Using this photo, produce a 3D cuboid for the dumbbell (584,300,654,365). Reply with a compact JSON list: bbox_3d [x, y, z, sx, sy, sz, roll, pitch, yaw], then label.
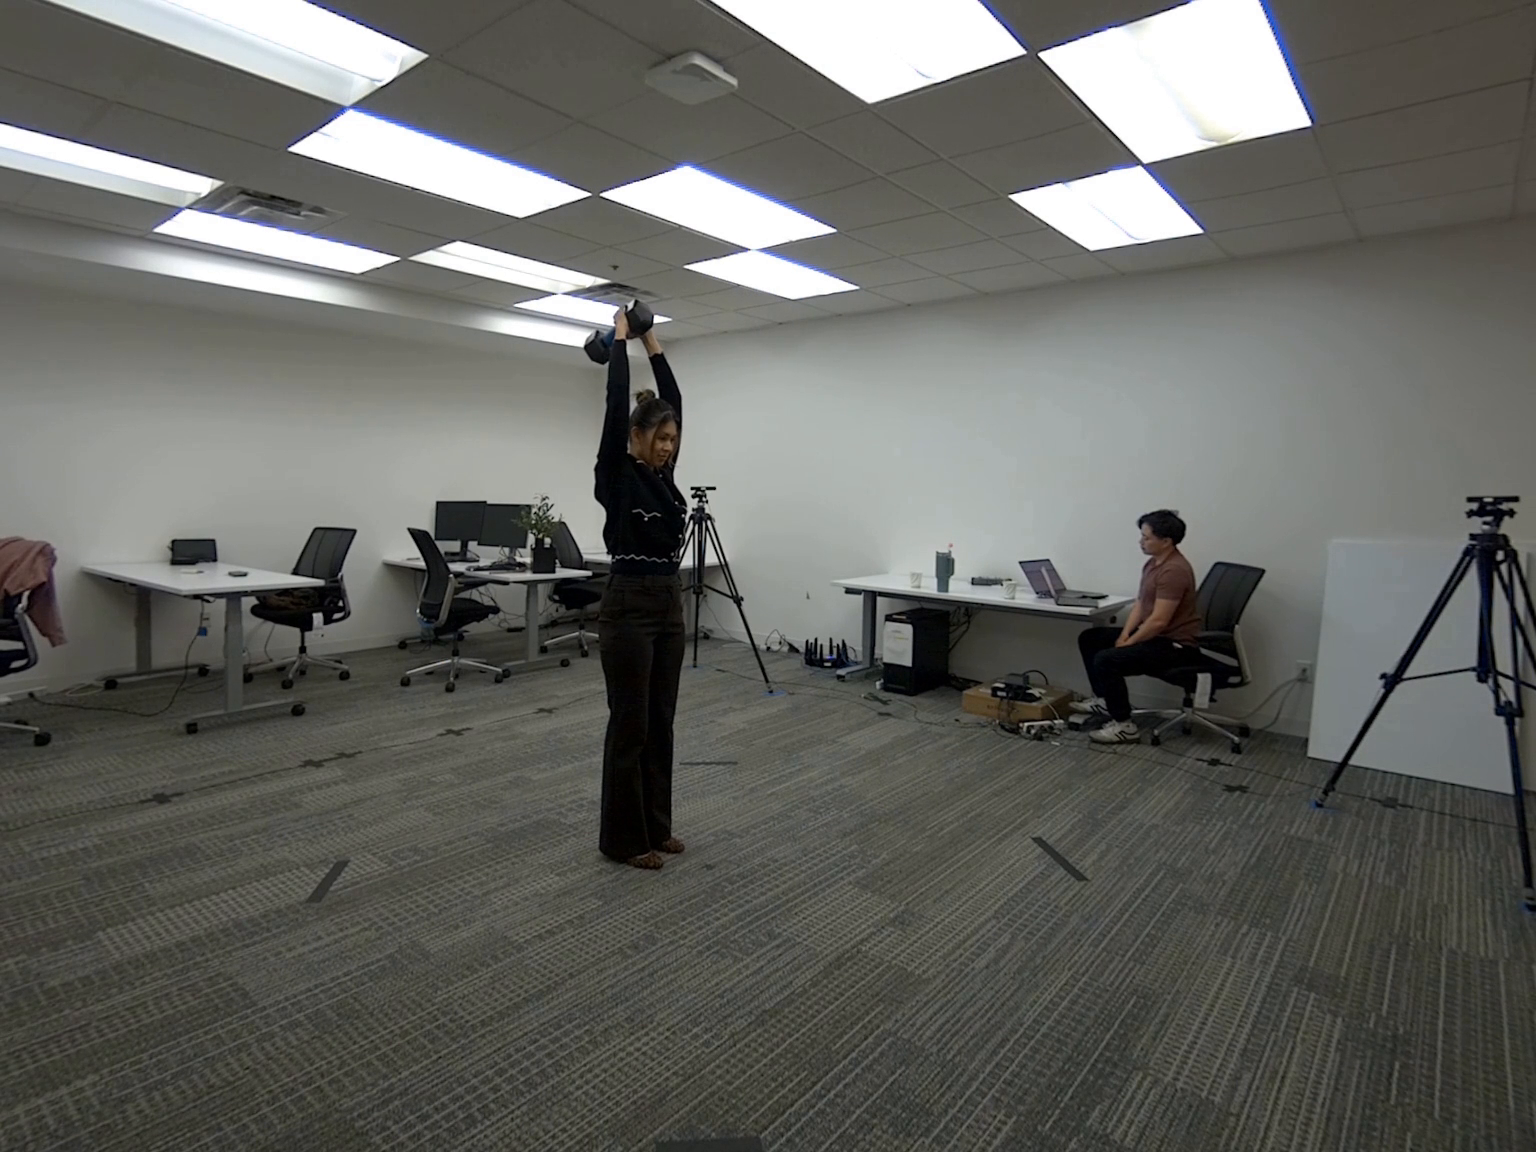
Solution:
[{"bbox_3d":[-0.576,-0.924,3.222,0.297,0.122,0.108,-29,8,31],"label":"dumbbell"}]
